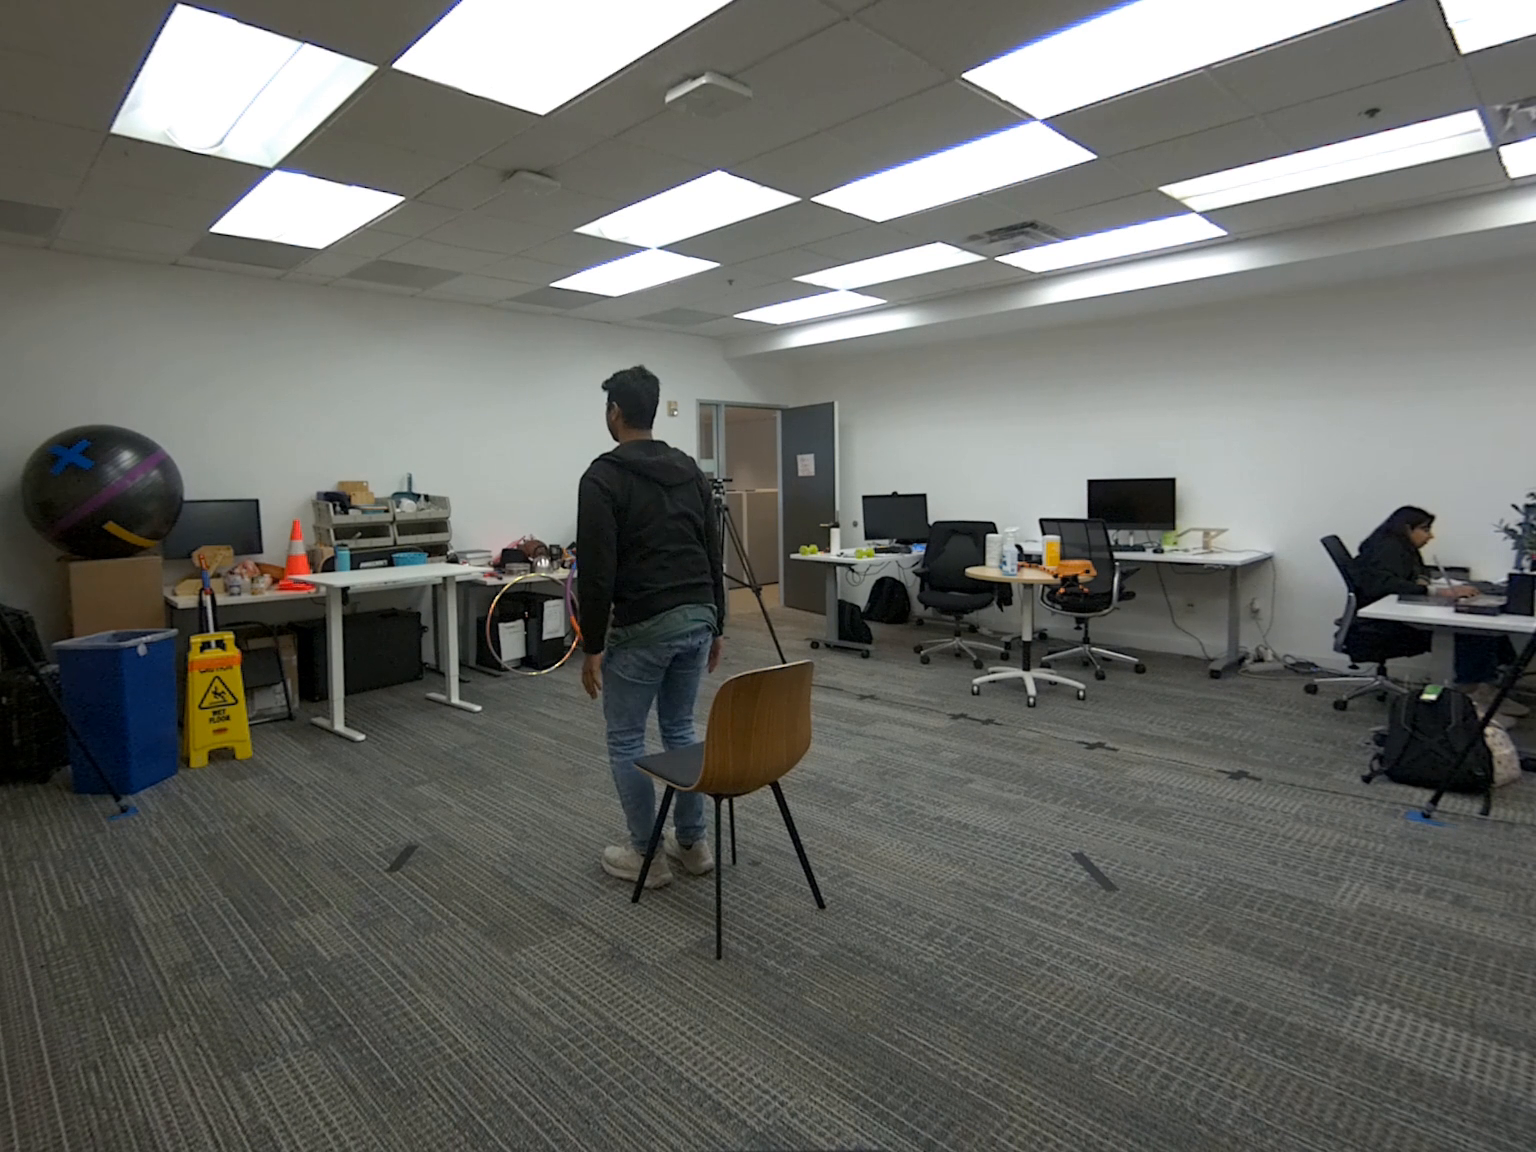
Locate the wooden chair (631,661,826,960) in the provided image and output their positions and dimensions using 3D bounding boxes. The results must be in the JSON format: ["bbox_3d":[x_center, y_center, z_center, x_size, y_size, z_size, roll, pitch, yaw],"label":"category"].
[{"bbox_3d":[-0.138,0.659,2.772,0.466,0.871,0.540,-5,10,-40],"label":"wooden chair"}]
